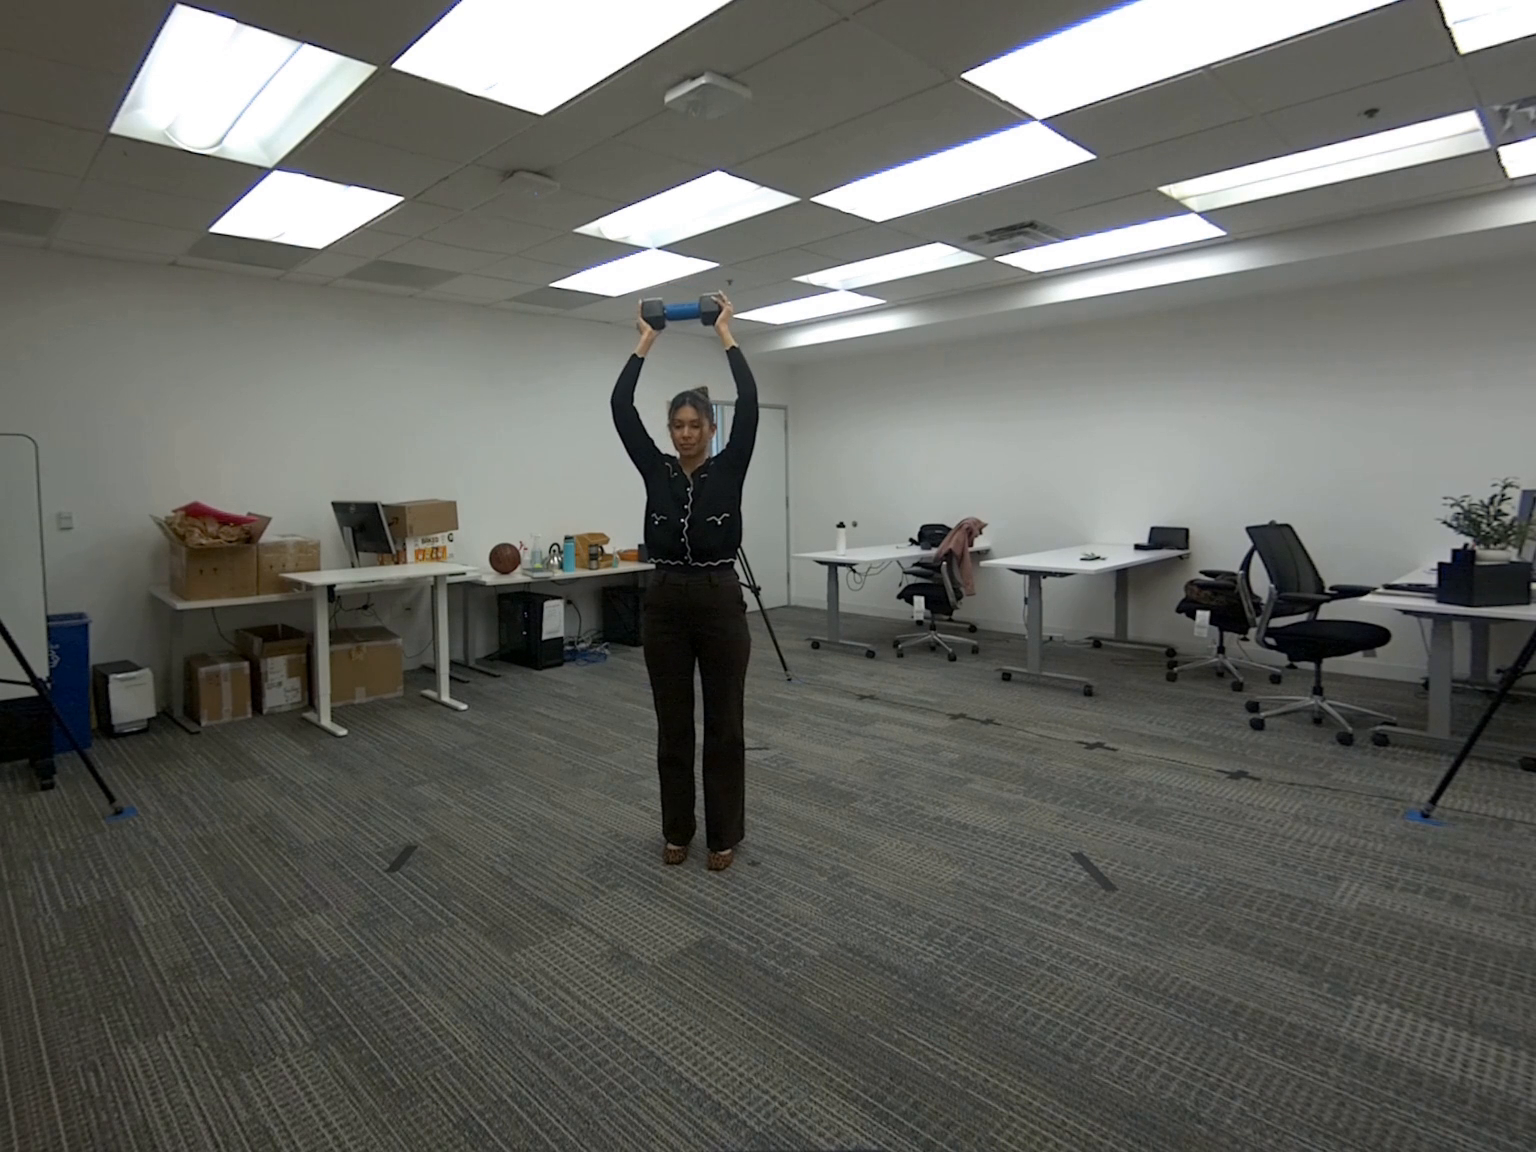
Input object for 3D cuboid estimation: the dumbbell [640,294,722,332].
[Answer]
[{"bbox_3d":[-0.315,-0.950,3.068,0.296,0.106,0.124,-4,24,9],"label":"dumbbell"}]
